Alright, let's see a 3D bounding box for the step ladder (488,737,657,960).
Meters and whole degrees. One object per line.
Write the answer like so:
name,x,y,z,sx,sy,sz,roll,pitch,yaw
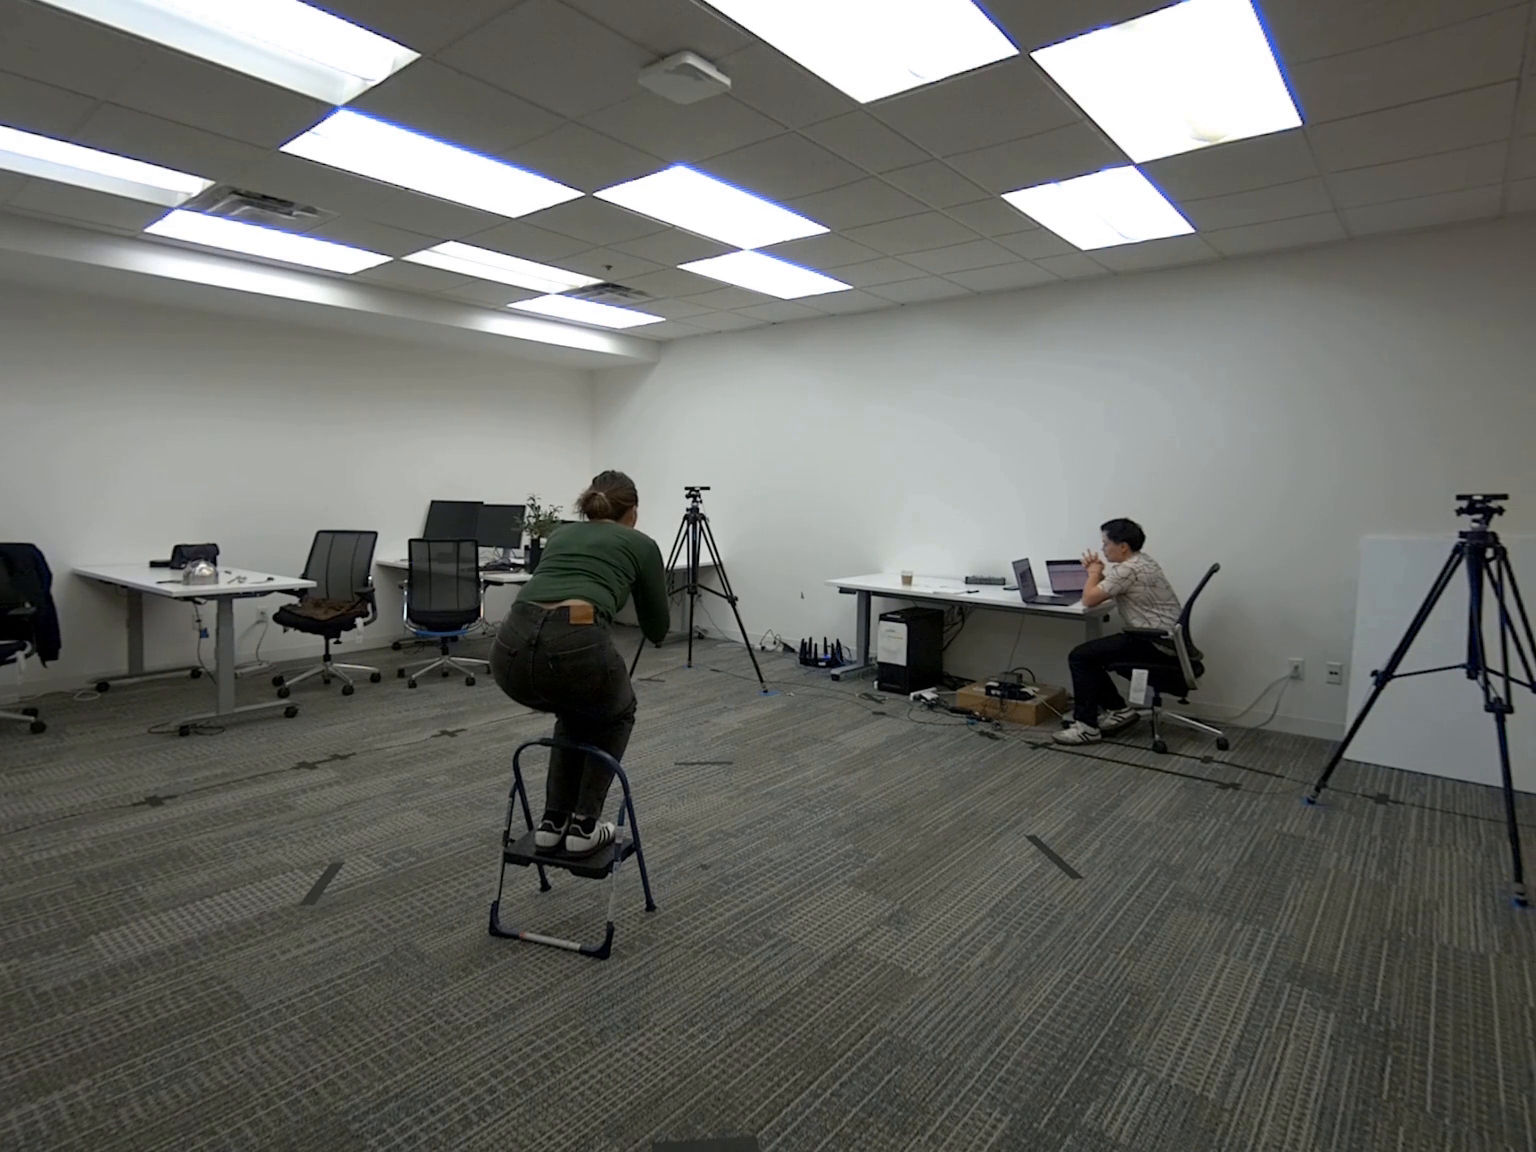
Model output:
step ladder,-0.630,0.800,2.699,0.439,0.604,0.343,2,4,18
